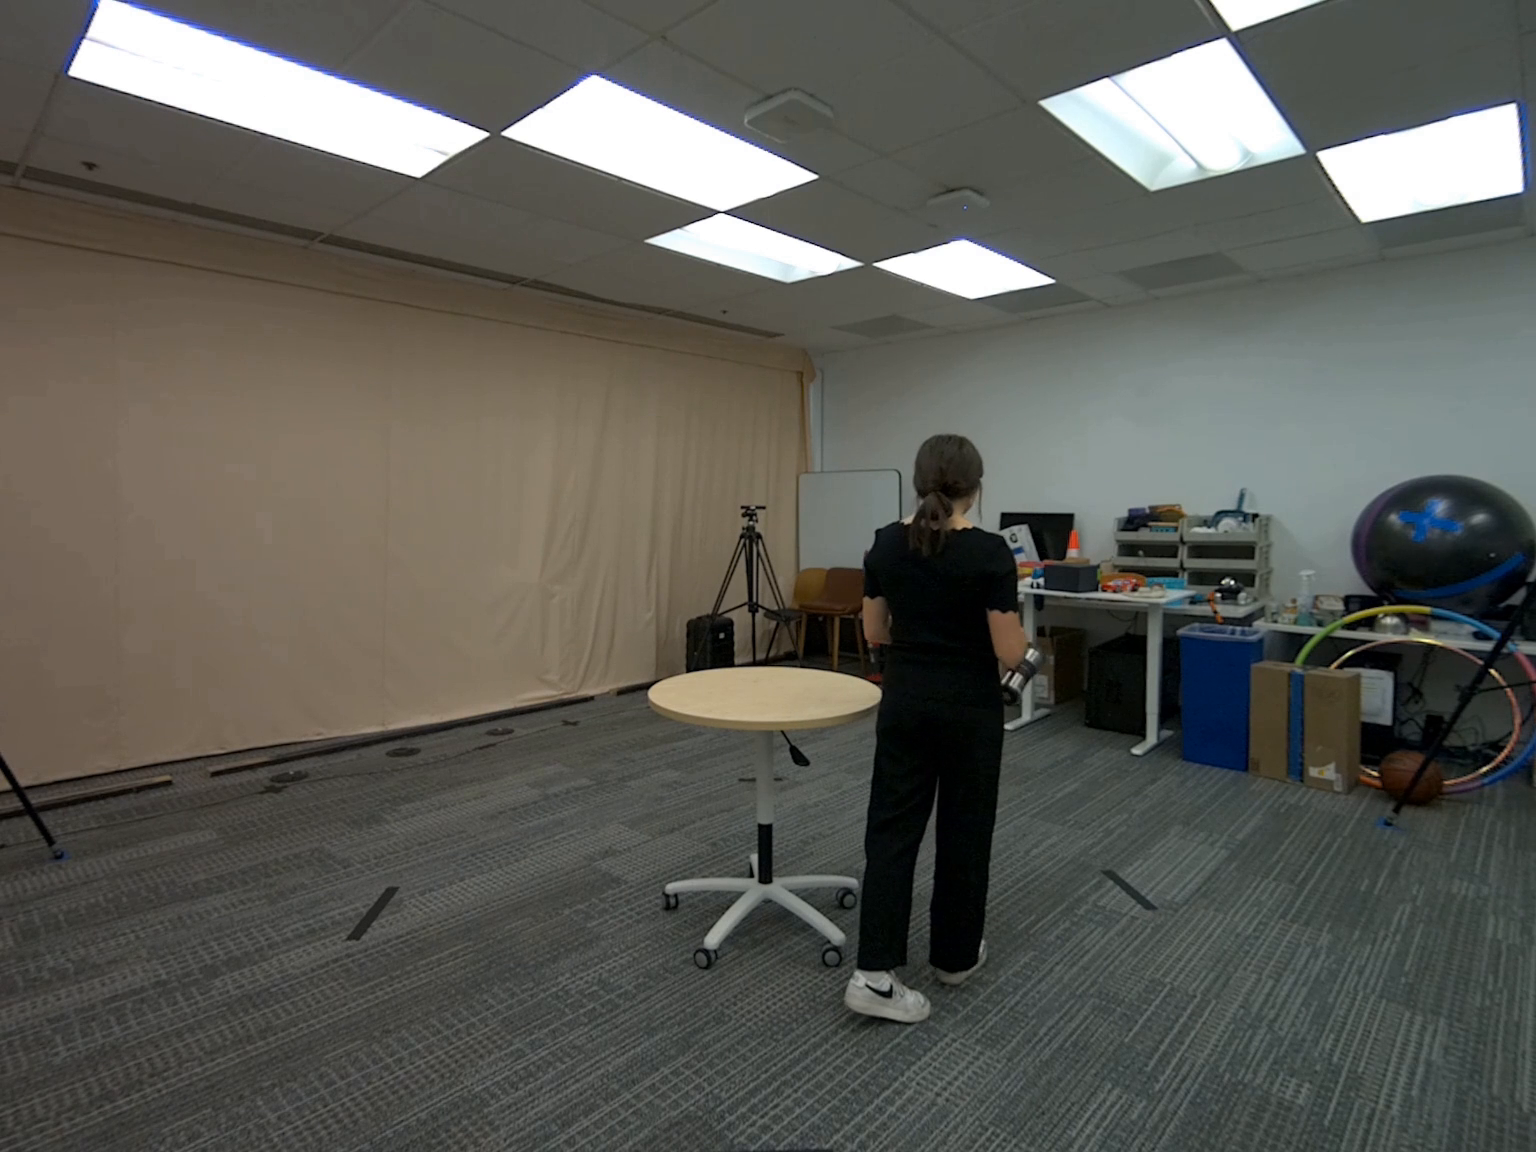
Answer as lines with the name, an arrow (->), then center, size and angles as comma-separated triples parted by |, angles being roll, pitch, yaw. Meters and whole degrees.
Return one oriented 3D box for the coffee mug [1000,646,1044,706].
coffee mug -> 0.752, 0.286, 2.517 | 0.200, 0.119, 0.091 | -37, 38, -29
